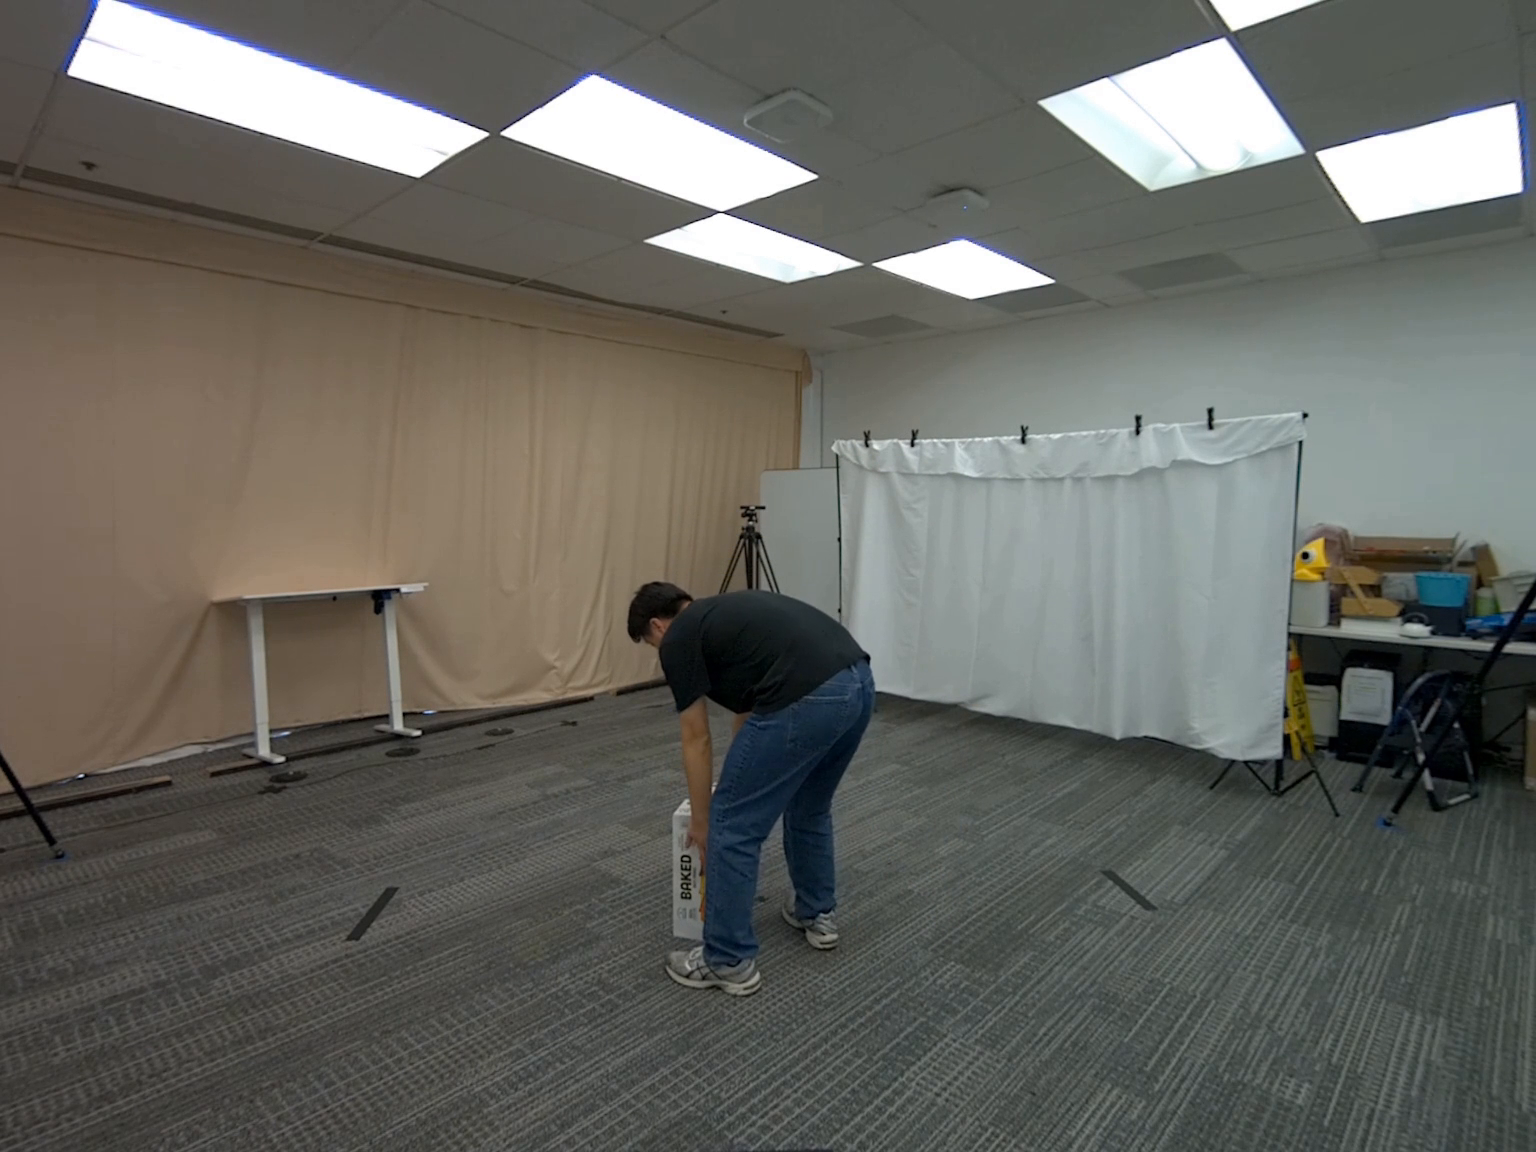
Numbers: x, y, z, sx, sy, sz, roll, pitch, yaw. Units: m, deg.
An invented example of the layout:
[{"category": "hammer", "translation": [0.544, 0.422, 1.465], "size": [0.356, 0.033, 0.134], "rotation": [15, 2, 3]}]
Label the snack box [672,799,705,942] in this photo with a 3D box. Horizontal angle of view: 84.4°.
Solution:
[{"category": "snack box", "translation": [-0.176, 0.953, 2.851], "size": [0.208, 0.404, 0.336], "rotation": [0, 3, 12]}]
